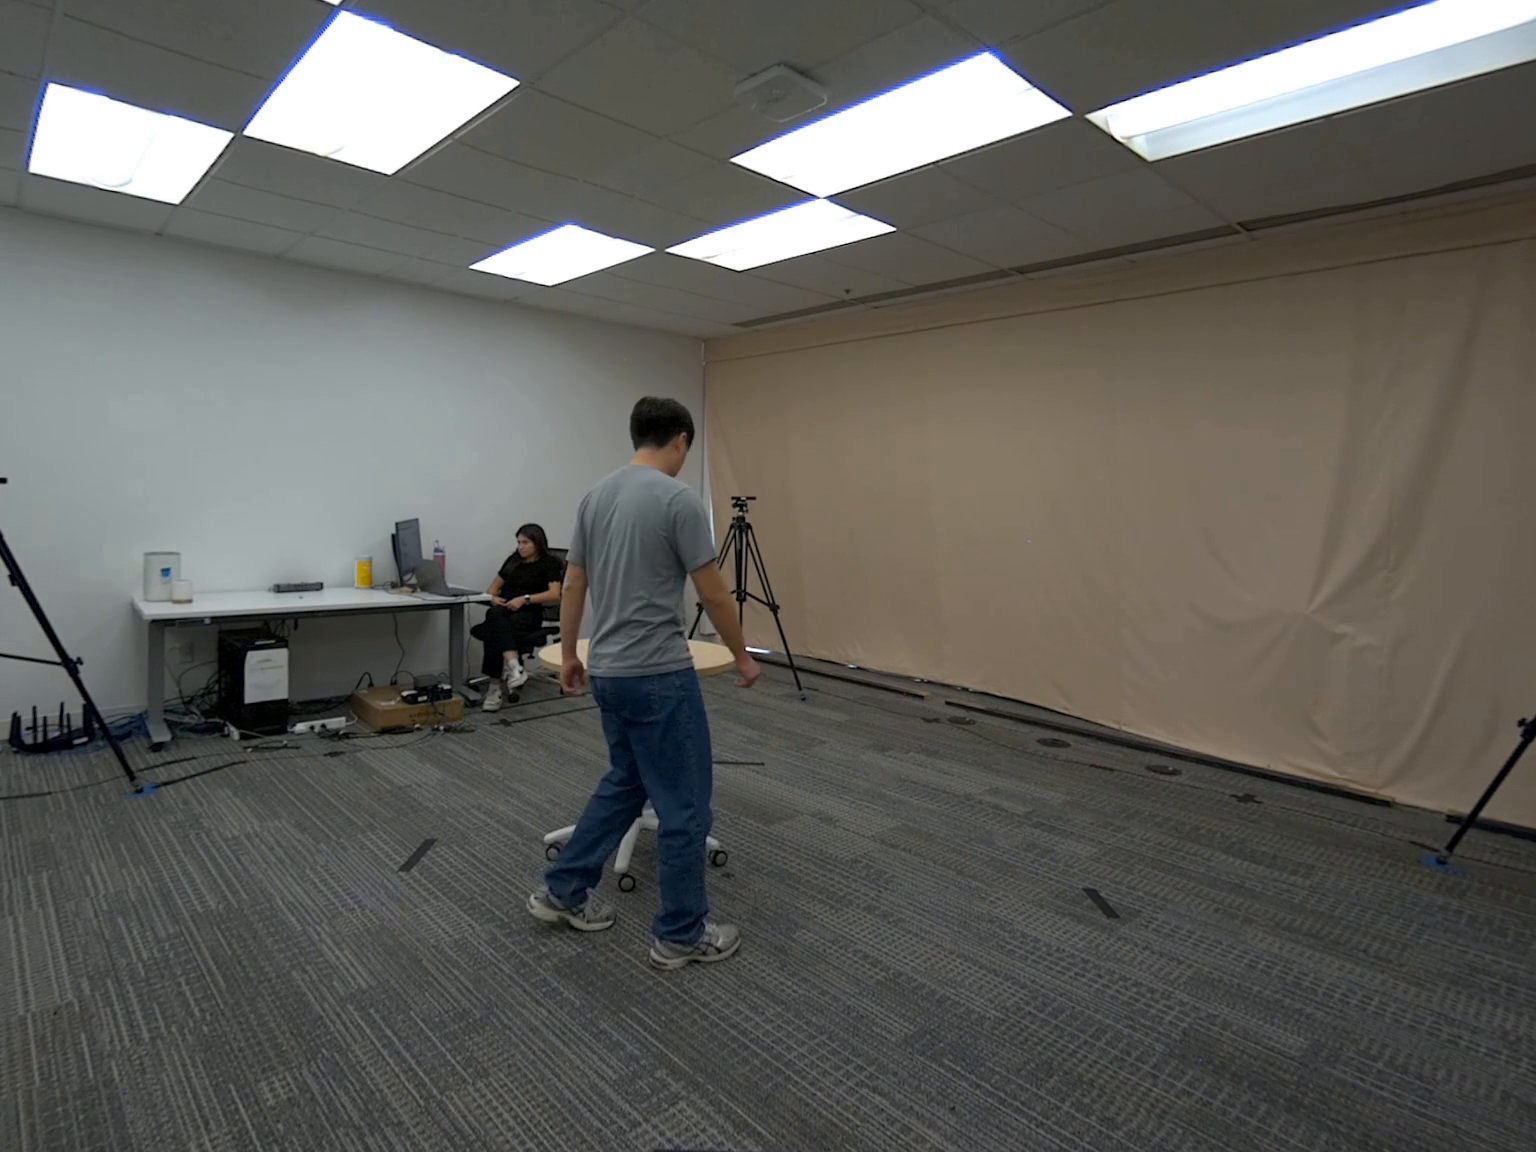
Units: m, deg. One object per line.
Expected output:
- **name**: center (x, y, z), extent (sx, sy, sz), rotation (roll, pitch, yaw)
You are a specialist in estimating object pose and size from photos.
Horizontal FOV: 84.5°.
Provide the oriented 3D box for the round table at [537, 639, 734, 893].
- **round table**: center (-0.516, 0.694, 3.282), extent (0.763, 0.792, 0.766), rotation (1, 4, -1)
